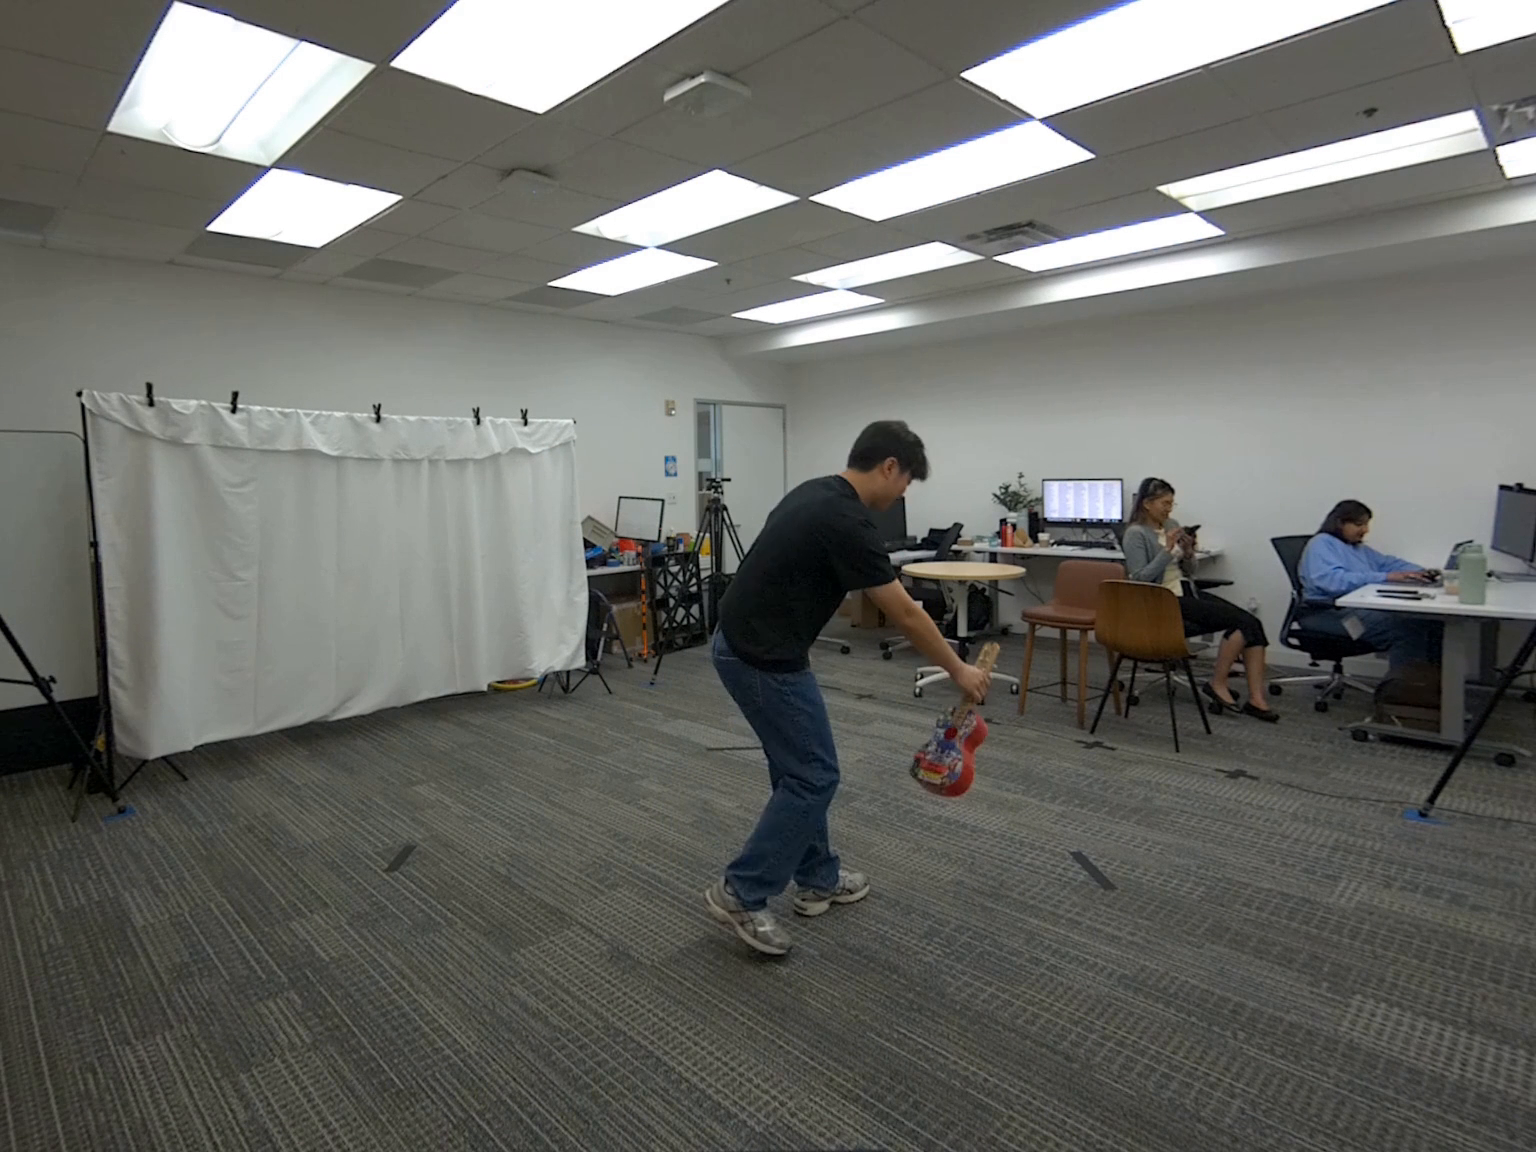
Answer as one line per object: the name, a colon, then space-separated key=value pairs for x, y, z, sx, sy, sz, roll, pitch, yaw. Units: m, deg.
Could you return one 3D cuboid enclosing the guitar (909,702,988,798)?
guitar: x=0.614 y=0.438 z=2.563 sx=0.068 sy=0.498 sz=0.199 roll=42 pitch=-12 yaw=-28
